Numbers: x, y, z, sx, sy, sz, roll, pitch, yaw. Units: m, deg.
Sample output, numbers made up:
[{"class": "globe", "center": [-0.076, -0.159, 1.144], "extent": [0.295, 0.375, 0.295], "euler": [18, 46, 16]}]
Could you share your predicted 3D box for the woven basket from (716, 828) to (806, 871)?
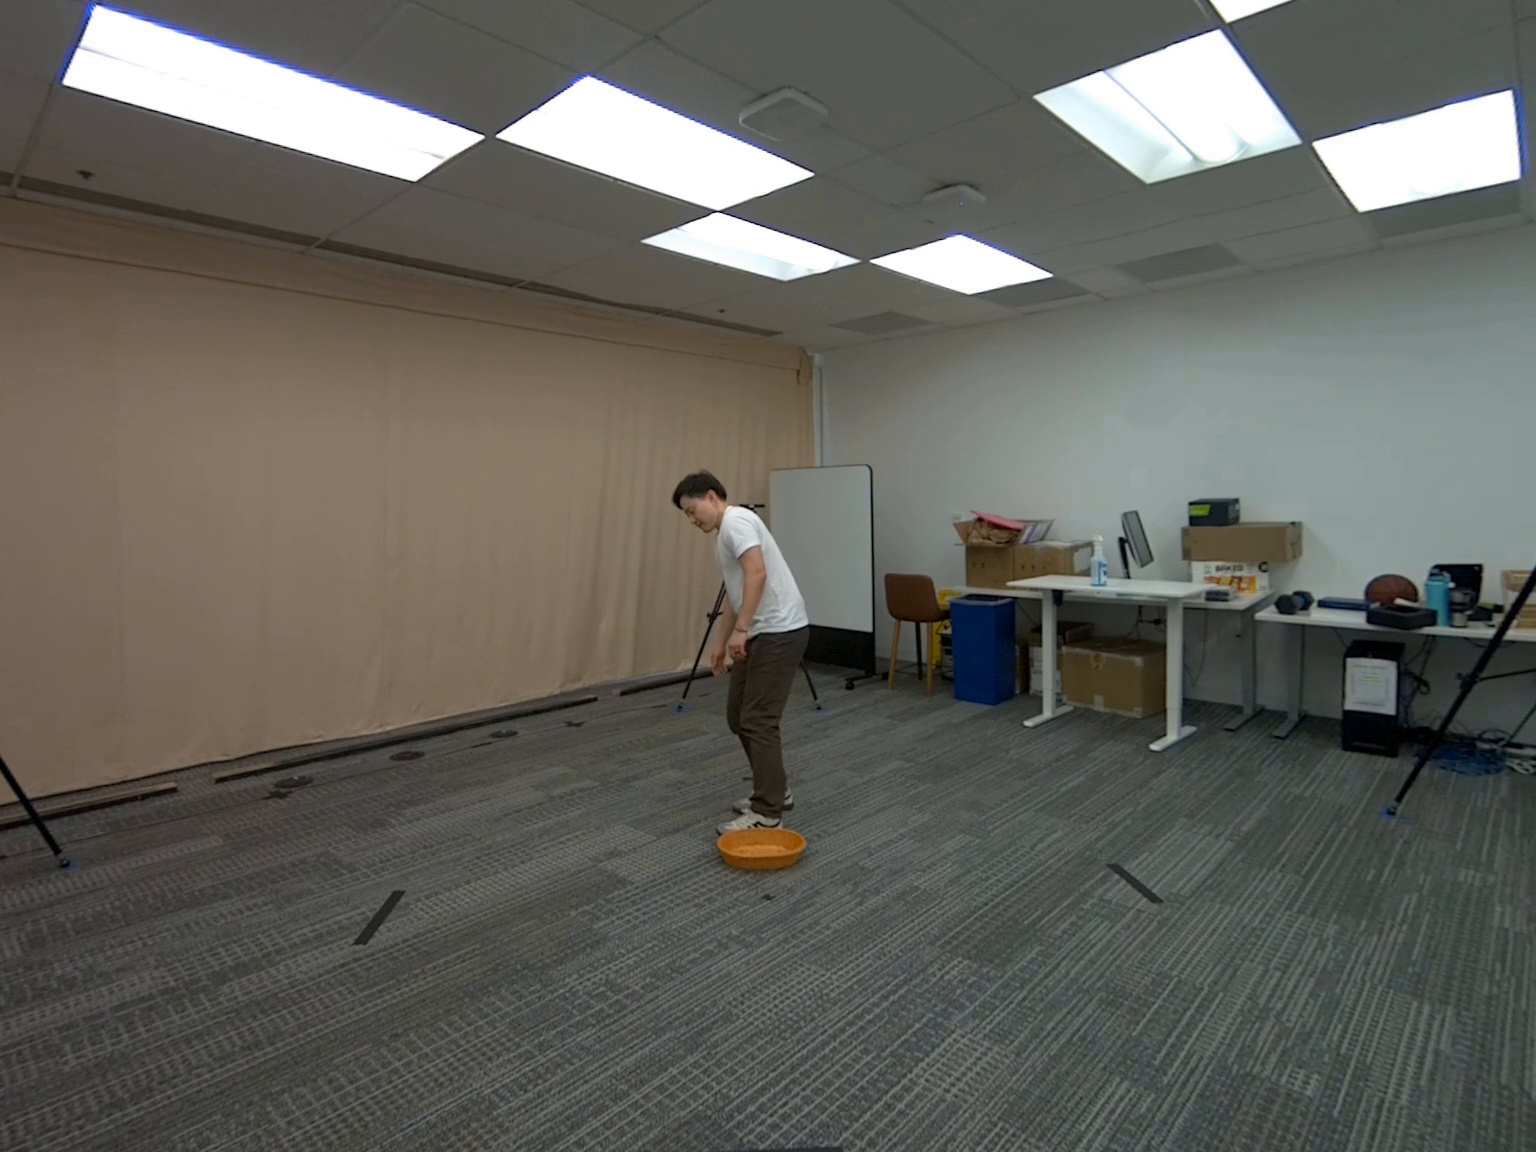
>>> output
[{"class": "woven basket", "center": [-0.030, 1.062, 3.300], "extent": [0.349, 0.073, 0.254], "euler": [-1, 8, -4]}]
